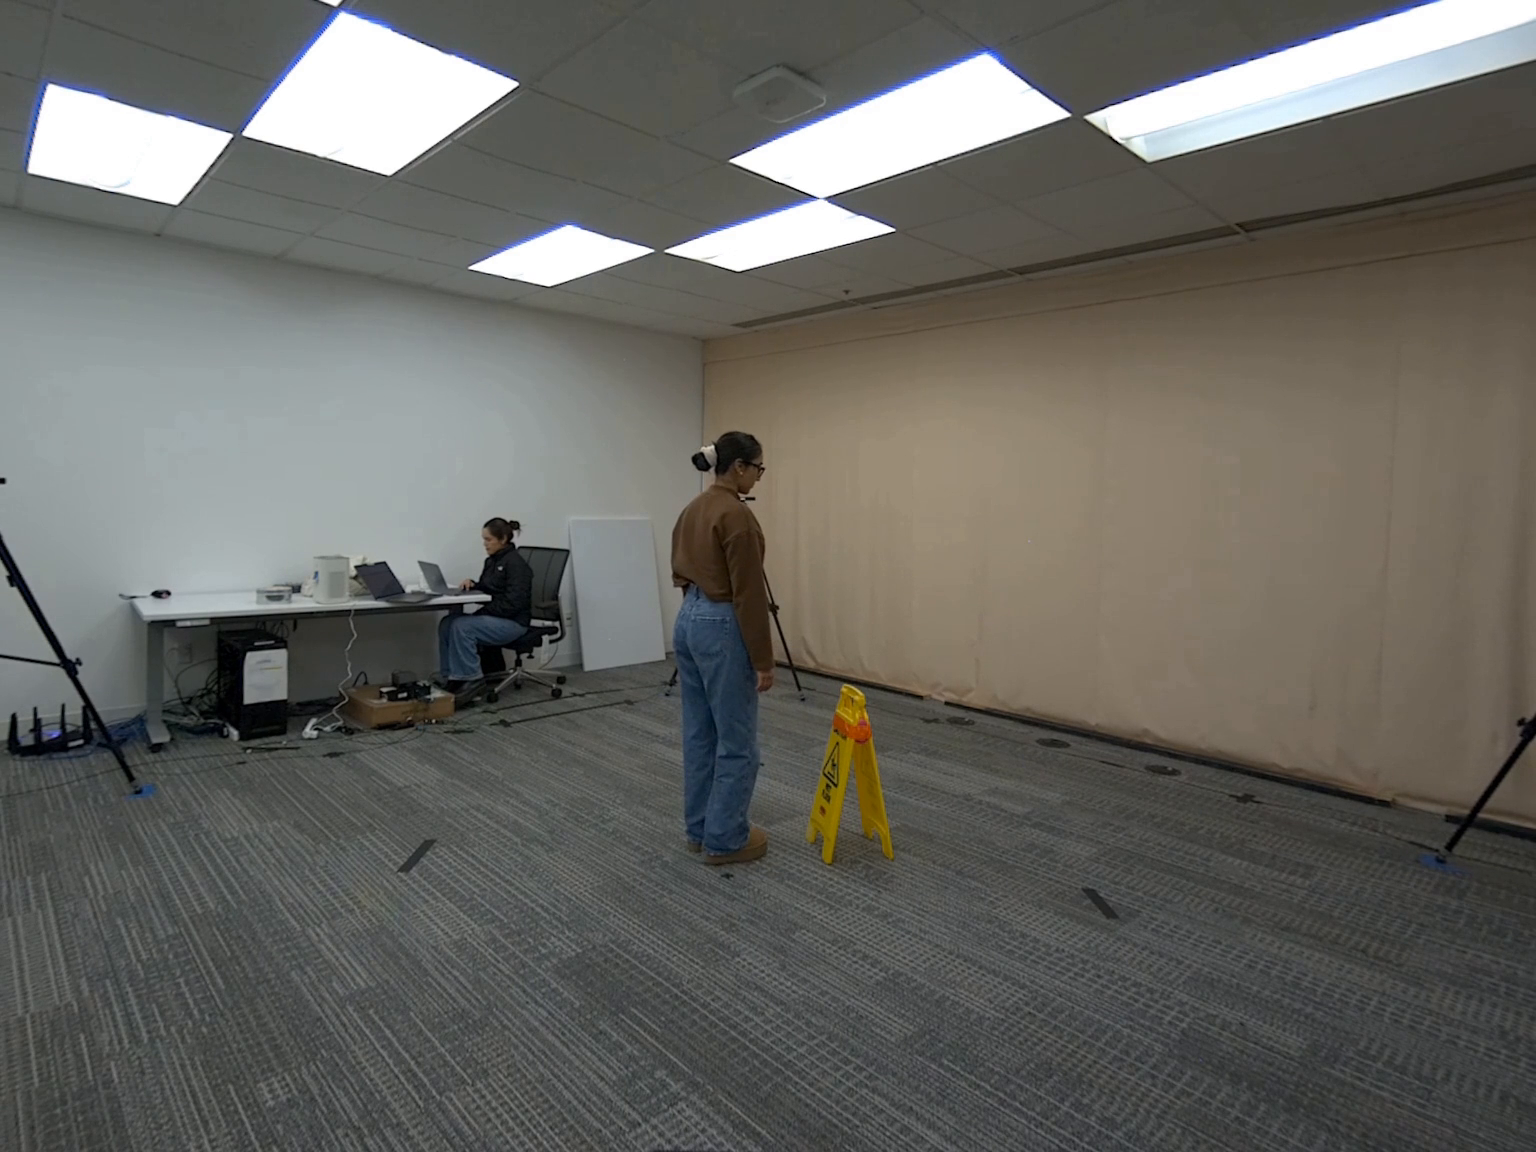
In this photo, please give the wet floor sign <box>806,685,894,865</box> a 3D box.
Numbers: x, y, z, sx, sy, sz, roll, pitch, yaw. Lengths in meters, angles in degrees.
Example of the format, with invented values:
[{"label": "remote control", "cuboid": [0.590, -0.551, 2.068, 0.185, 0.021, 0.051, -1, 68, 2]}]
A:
[{"label": "wet floor sign", "cuboid": [0.322, 0.768, 3.362, 0.286, 0.644, 0.286, 1, 4, -14]}]
